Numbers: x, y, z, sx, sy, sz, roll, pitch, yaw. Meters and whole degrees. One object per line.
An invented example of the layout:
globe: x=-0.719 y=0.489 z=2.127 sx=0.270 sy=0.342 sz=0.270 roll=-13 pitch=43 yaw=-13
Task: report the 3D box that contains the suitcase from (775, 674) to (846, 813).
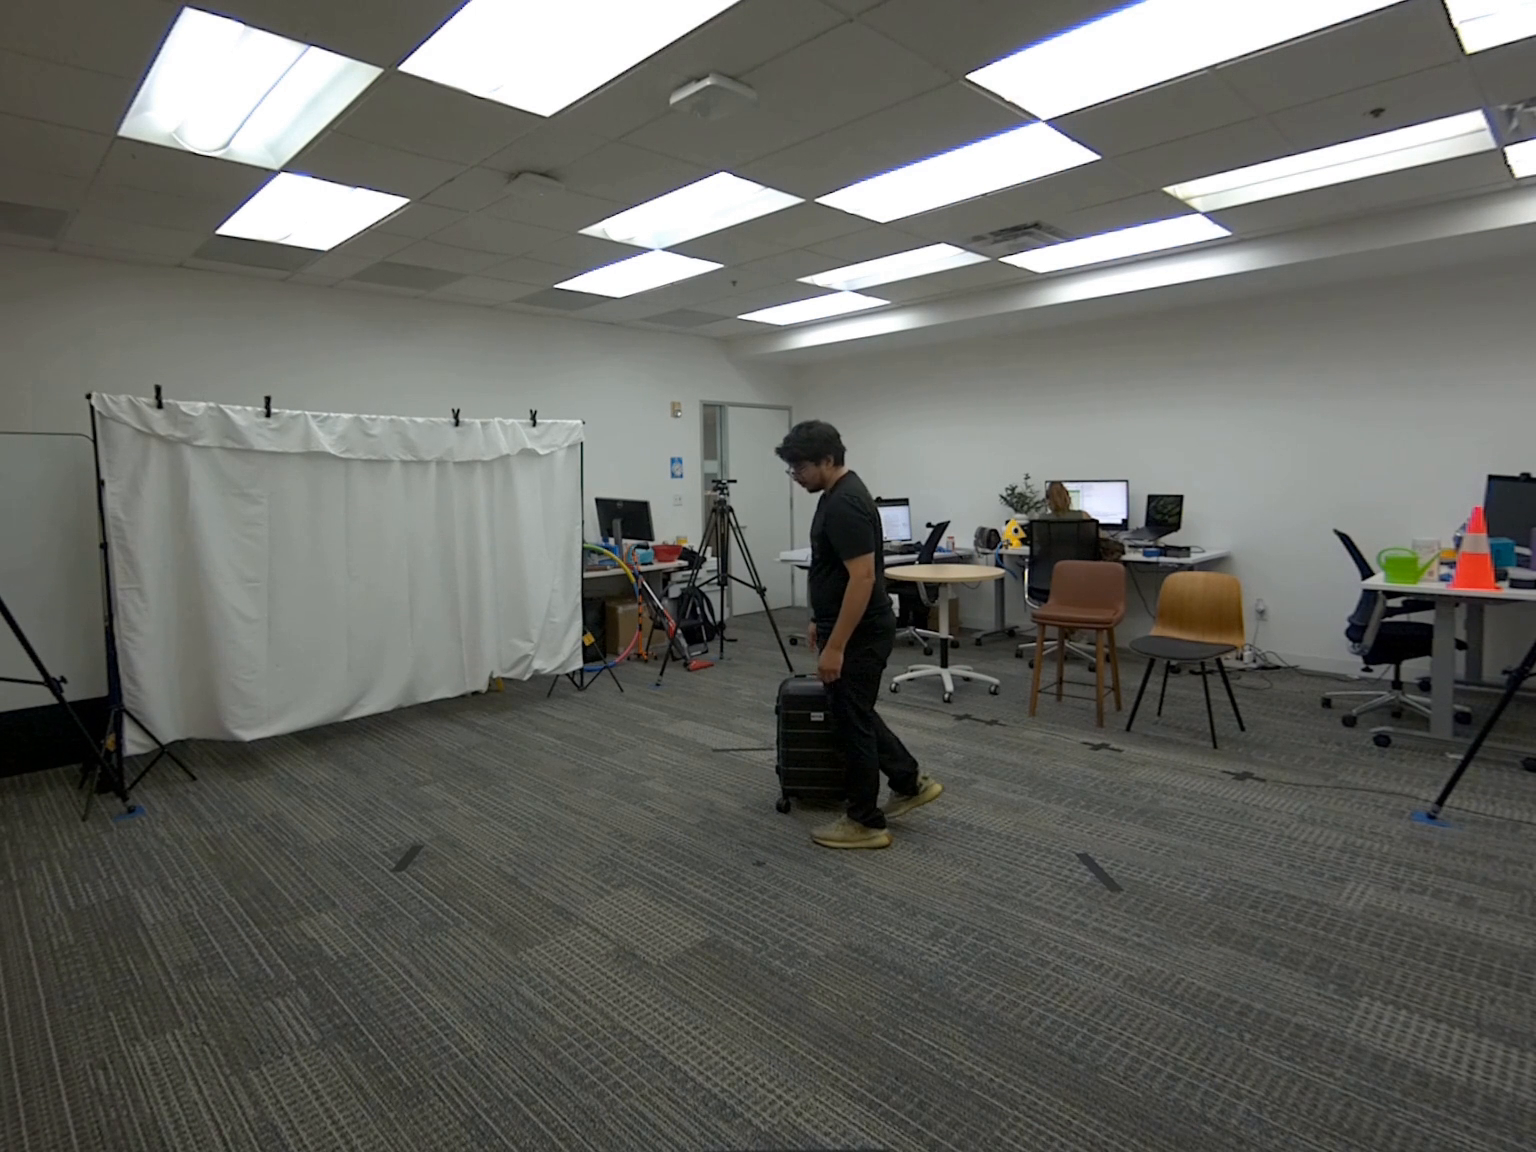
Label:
suitcase: x=0.227 y=0.703 z=3.676 sx=0.378 sy=0.547 sz=0.248 roll=0 pitch=4 yaw=5
